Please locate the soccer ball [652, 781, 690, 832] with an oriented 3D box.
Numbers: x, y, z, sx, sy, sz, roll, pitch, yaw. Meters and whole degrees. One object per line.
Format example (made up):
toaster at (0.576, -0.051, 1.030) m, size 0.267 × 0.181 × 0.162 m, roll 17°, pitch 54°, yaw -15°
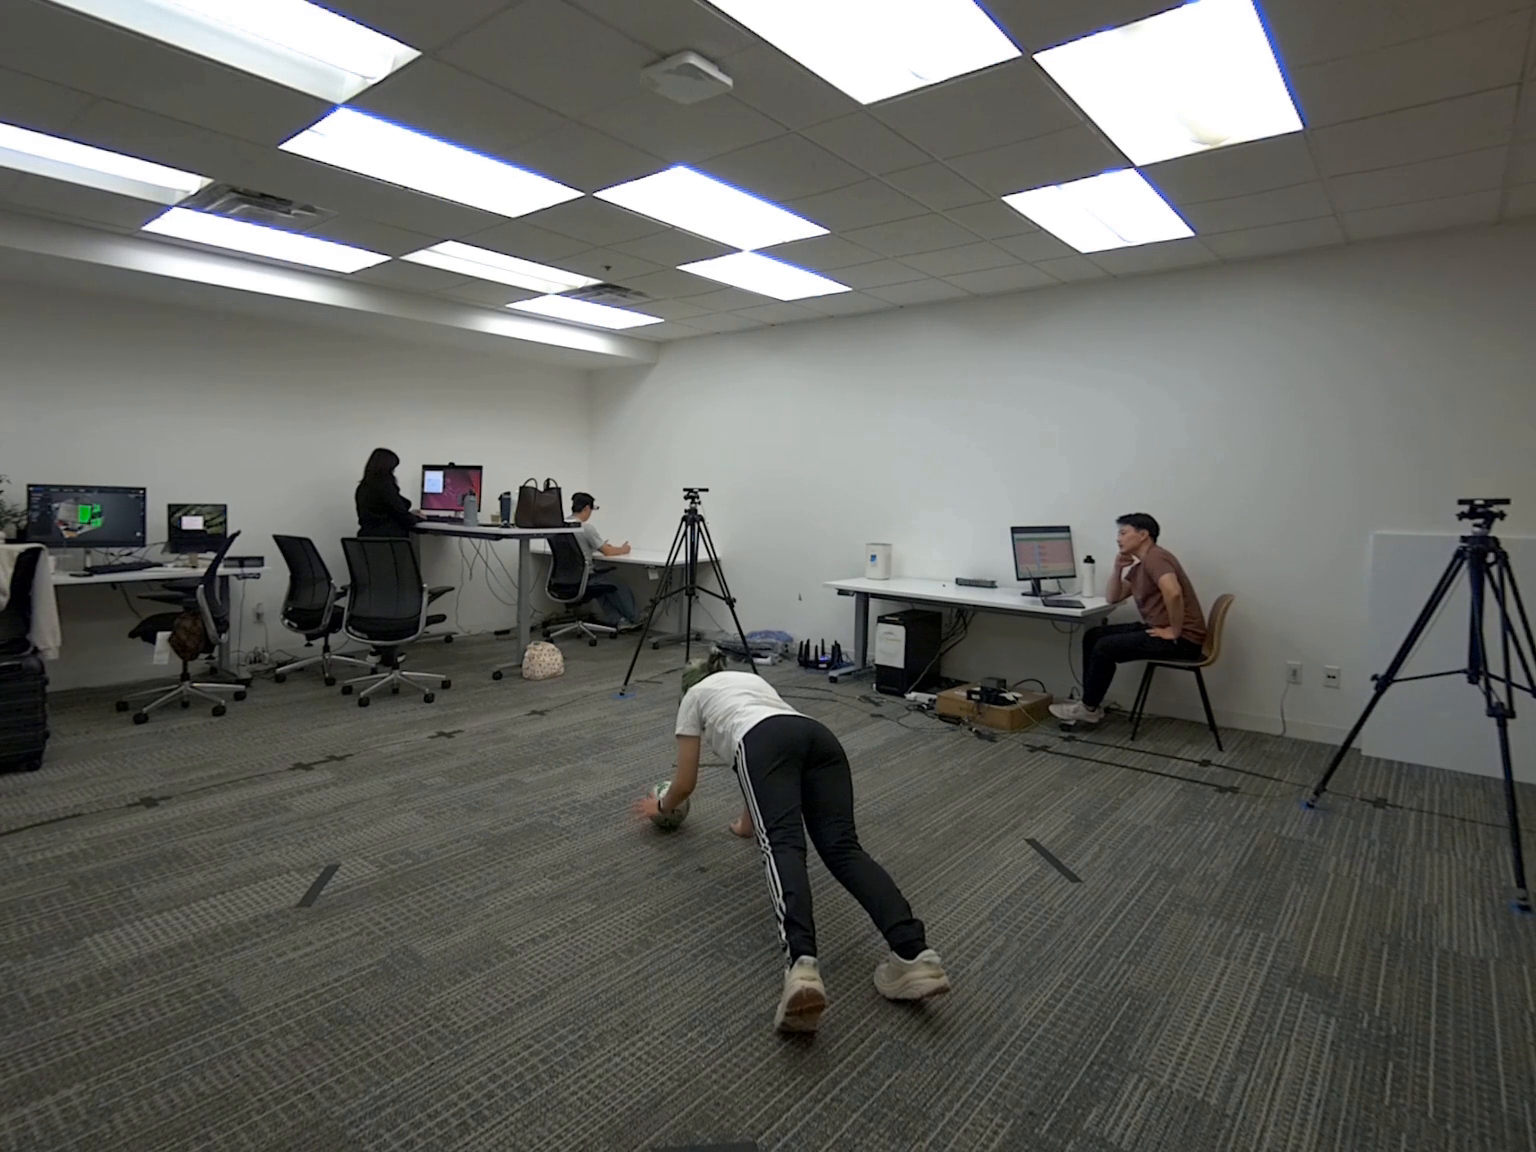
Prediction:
soccer ball at (-0.424, 0.937, 3.497) m, size 0.187 × 0.187 × 0.188 m, roll 1°, pitch 4°, yaw -2°
